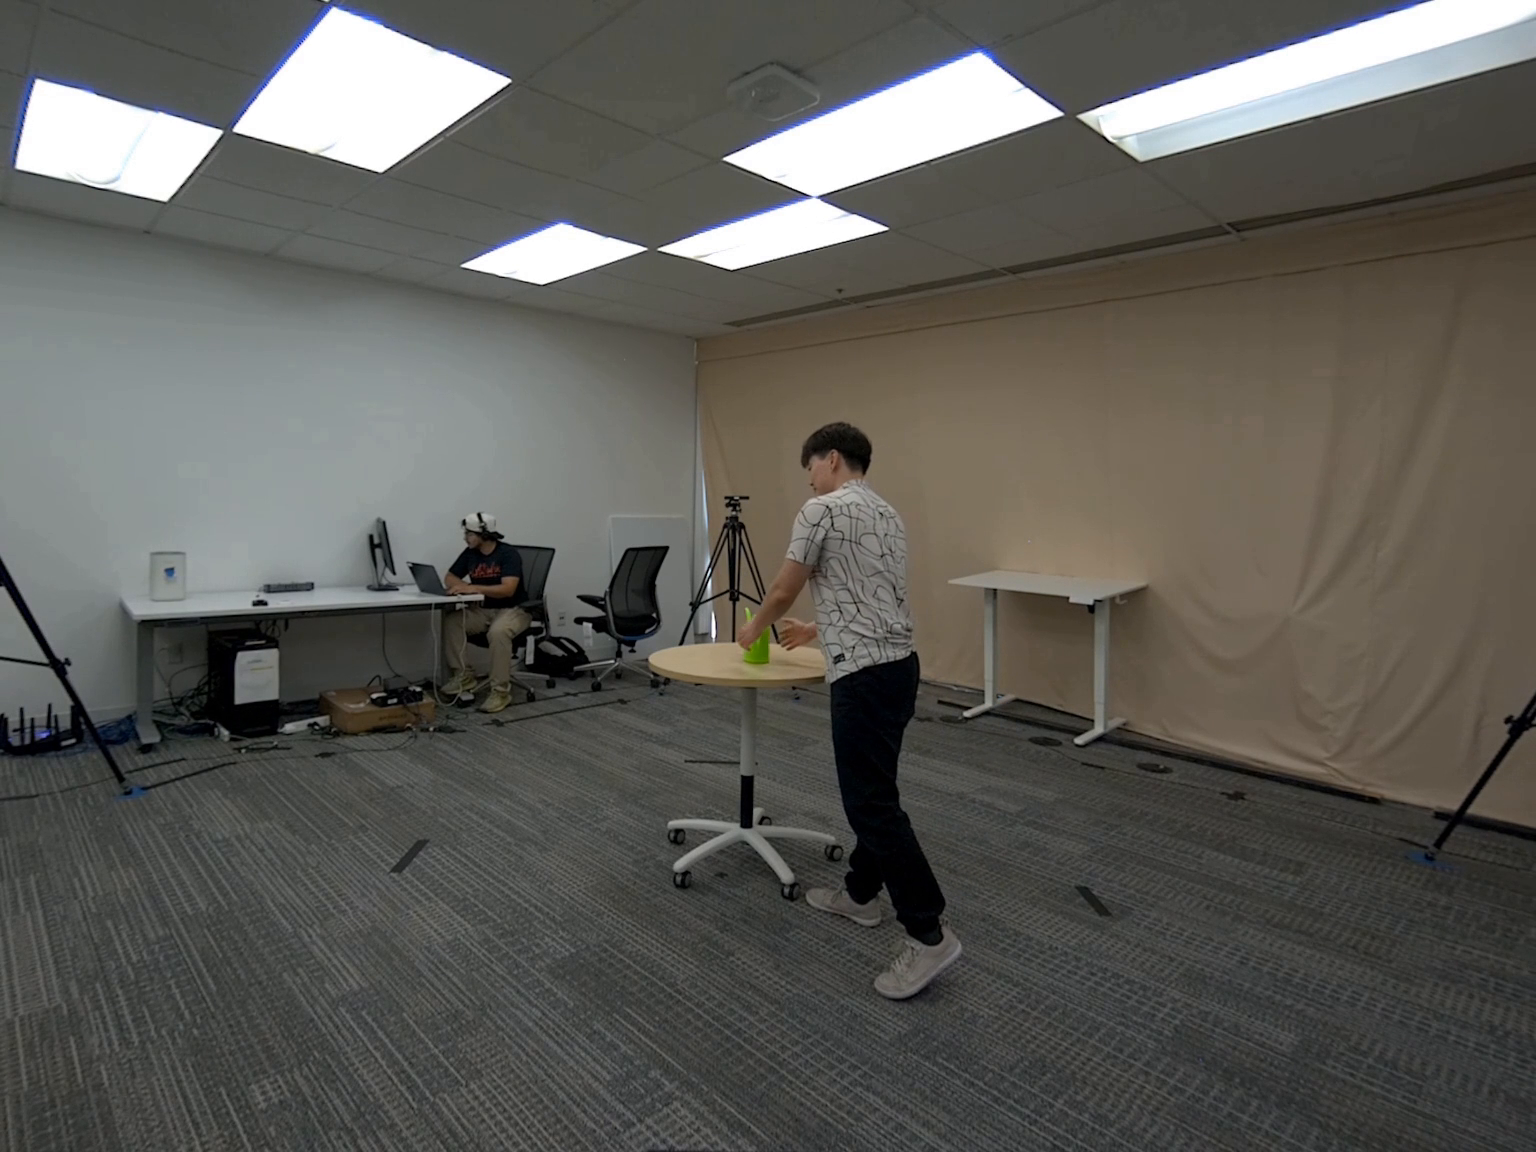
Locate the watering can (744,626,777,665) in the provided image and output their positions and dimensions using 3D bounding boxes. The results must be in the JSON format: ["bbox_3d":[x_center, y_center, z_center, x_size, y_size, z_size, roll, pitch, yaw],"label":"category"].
[{"bbox_3d":[-0.048,0.234,3.180,0.098,0.176,0.279,6,4,-1],"label":"watering can"}]
